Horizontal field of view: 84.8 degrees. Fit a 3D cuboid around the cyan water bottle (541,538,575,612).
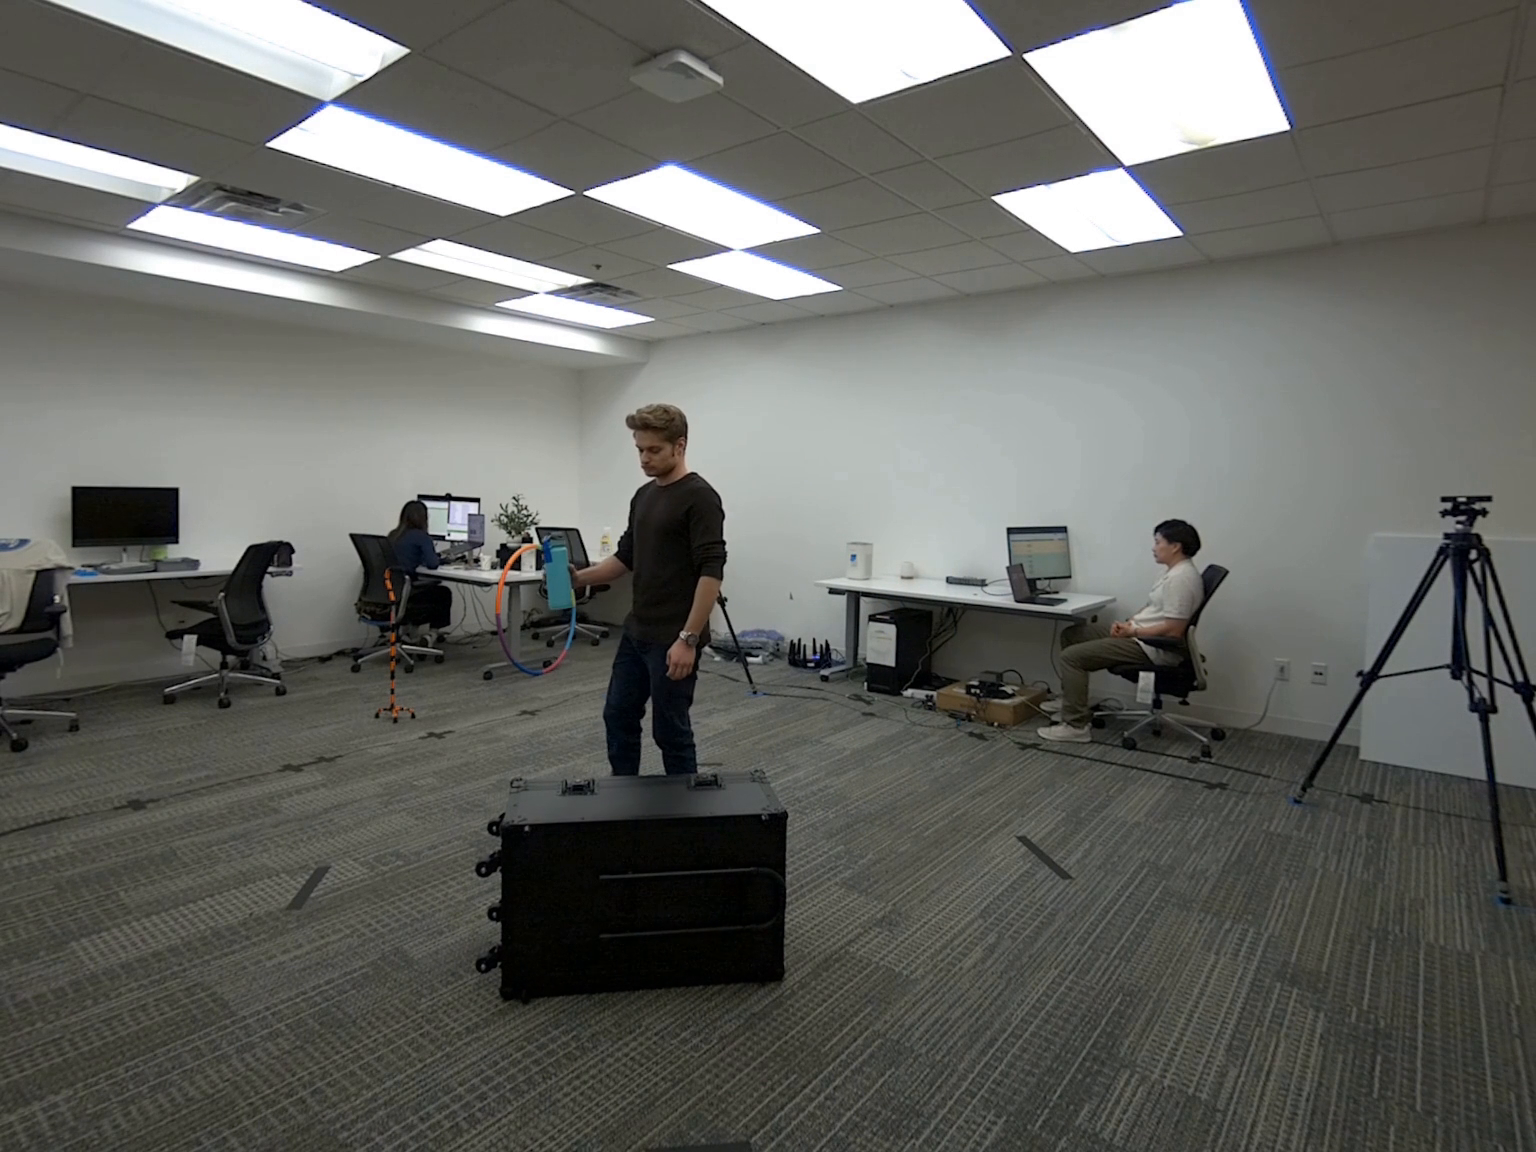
[{"bbox_3d":[-0.796,-0.023,3.162,0.092,0.282,0.092,-8,3,-1],"label":"cyan water bottle"}]
